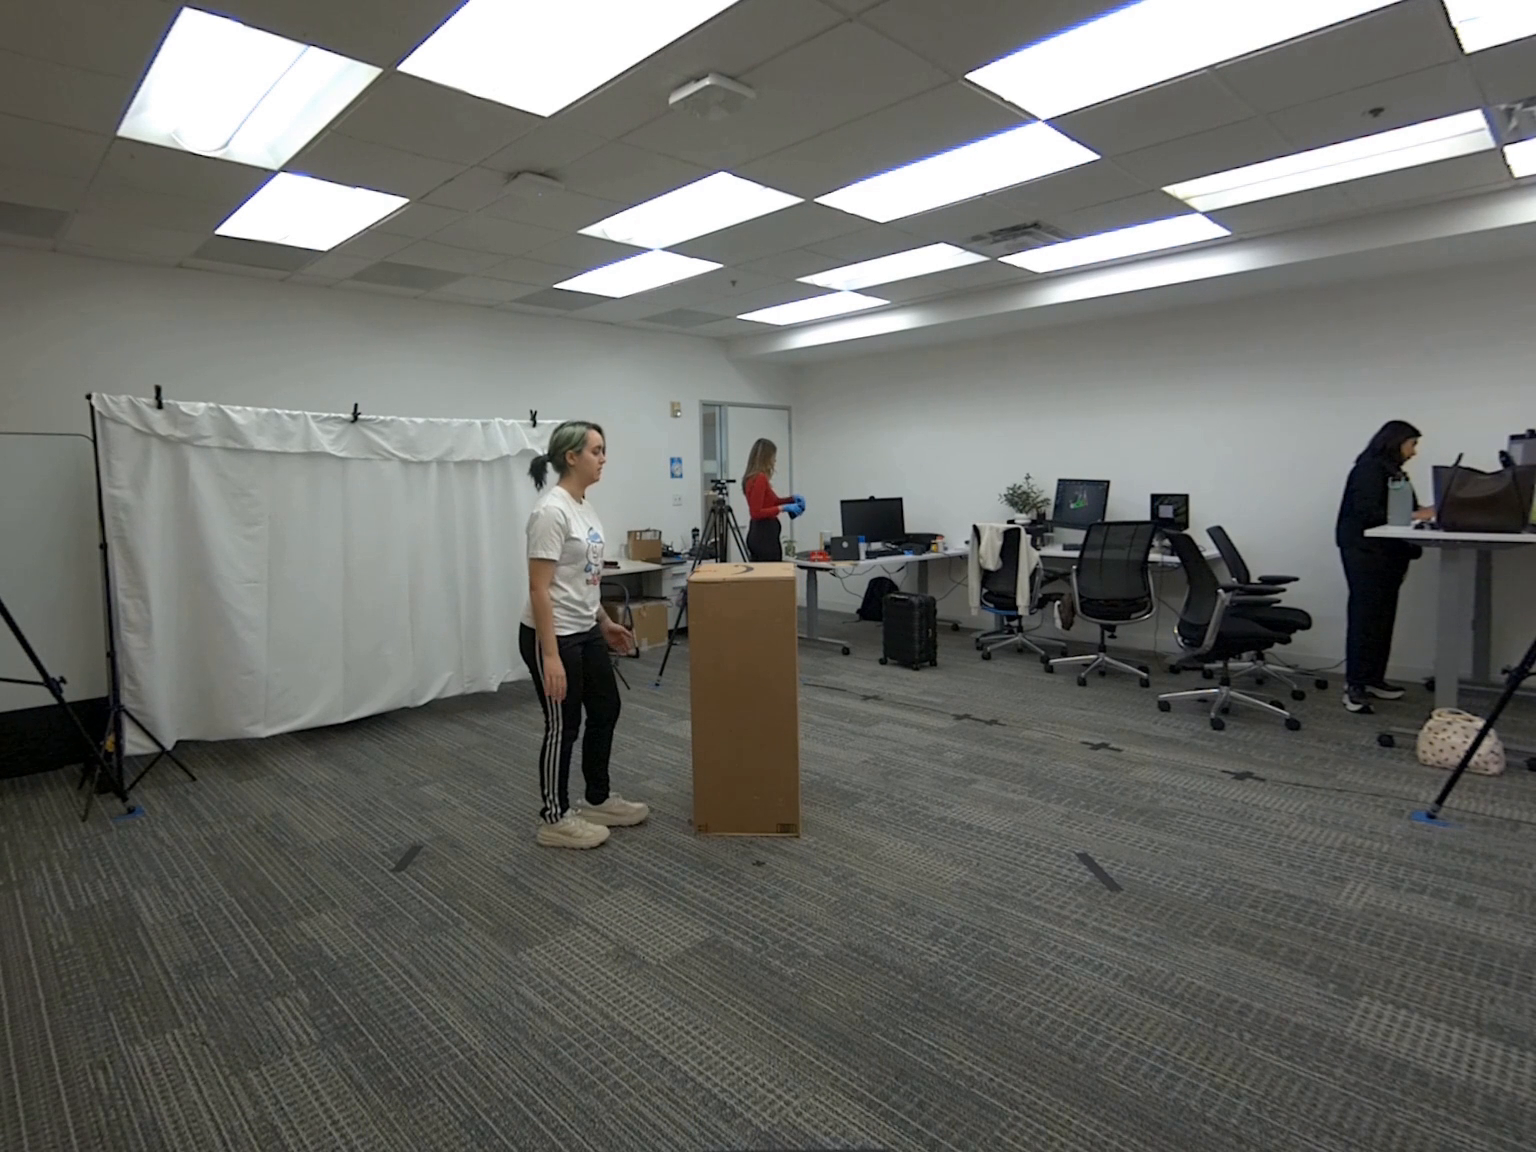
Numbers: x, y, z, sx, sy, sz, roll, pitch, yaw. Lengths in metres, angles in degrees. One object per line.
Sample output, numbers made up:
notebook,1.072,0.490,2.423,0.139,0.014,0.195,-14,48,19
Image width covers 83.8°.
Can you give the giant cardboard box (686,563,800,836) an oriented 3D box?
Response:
giant cardboard box,-0.093,0.485,3.605,0.428,1.022,0.577,-1,4,3
